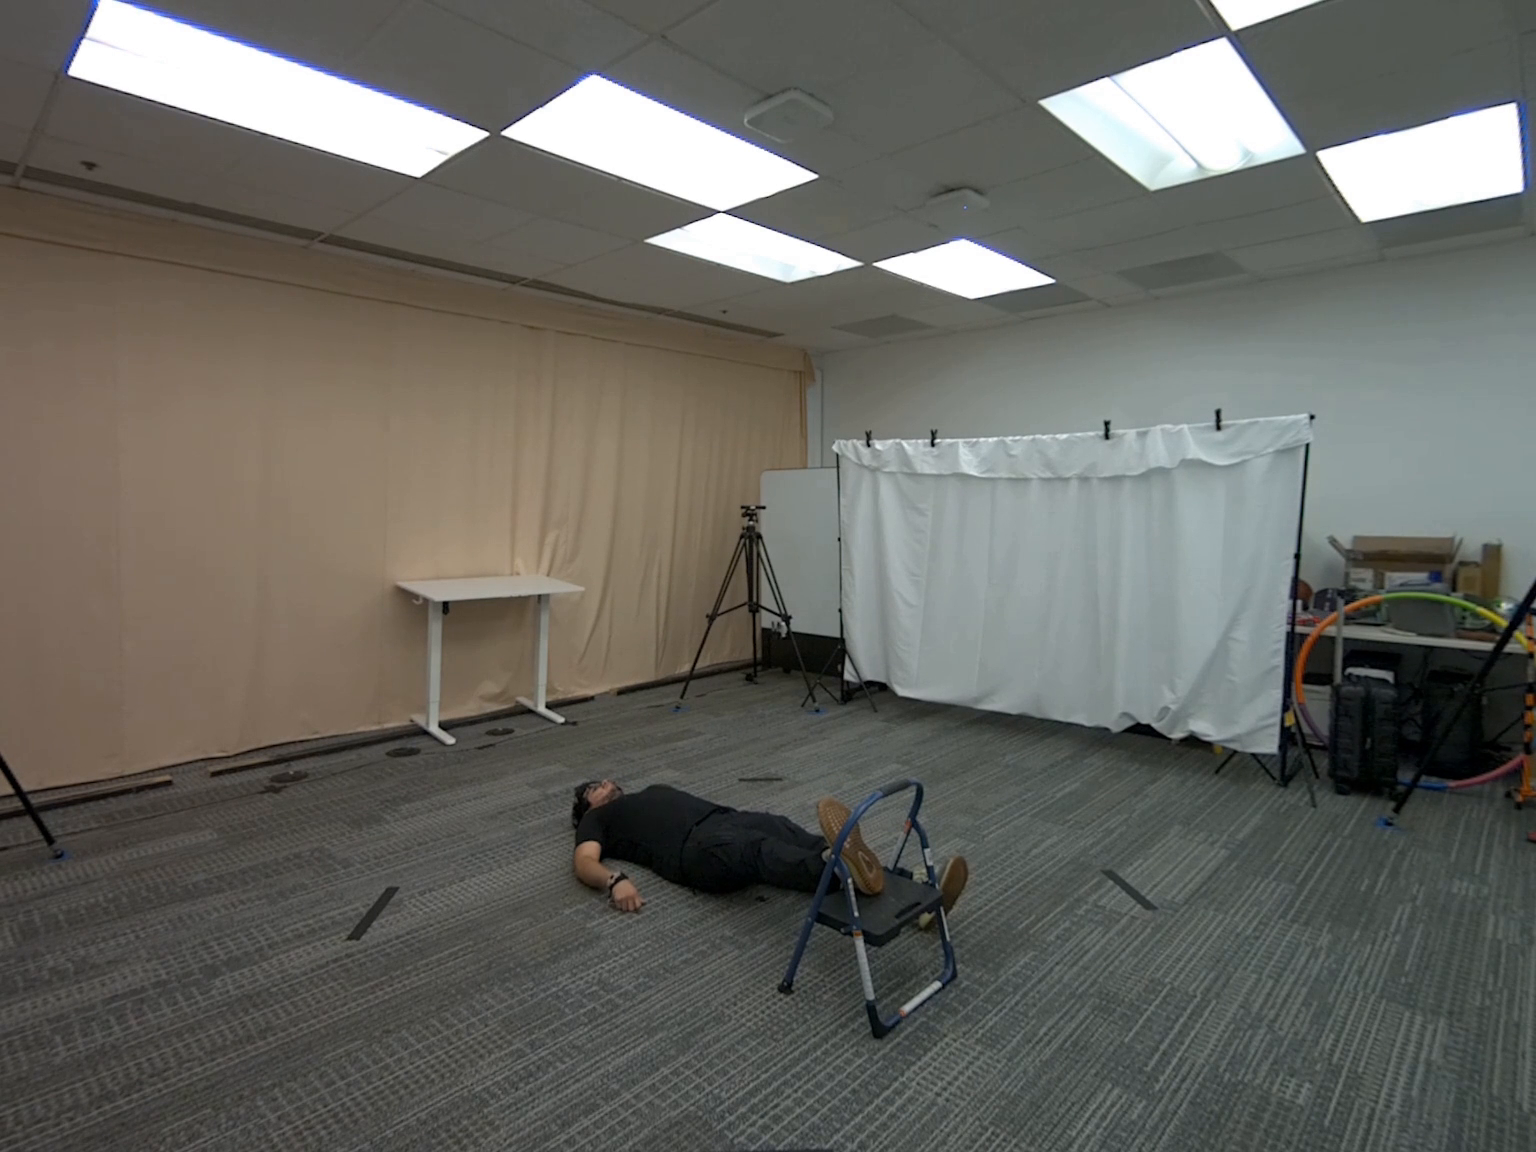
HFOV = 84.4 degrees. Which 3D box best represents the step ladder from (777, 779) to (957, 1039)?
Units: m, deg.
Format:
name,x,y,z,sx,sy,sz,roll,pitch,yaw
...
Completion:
name,x,y,z,sx,sy,sz,roll,pitch,yaw
step ladder,0.302,0.886,2.433,0.361,0.604,0.417,4,6,42
